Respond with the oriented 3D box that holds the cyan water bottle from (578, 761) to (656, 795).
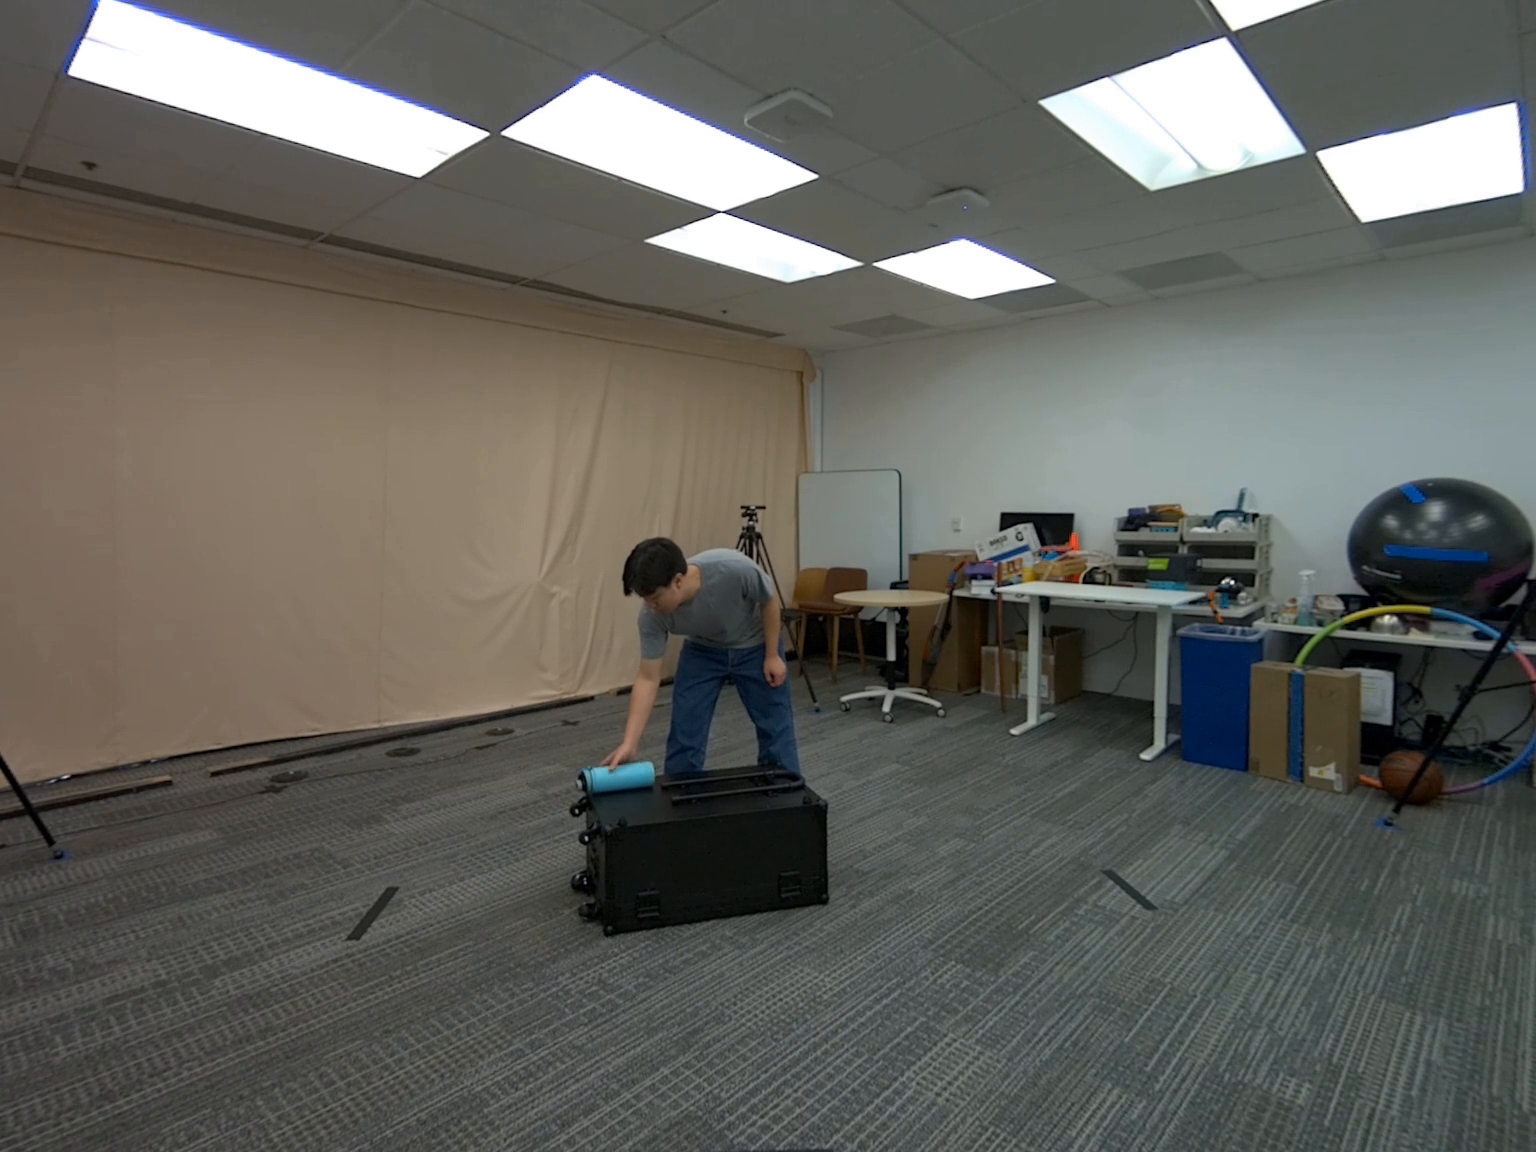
[{"bbox_3d":[-0.560,0.736,3.061,0.278,0.092,0.094,-2,4,-19],"label":"cyan water bottle"}]
